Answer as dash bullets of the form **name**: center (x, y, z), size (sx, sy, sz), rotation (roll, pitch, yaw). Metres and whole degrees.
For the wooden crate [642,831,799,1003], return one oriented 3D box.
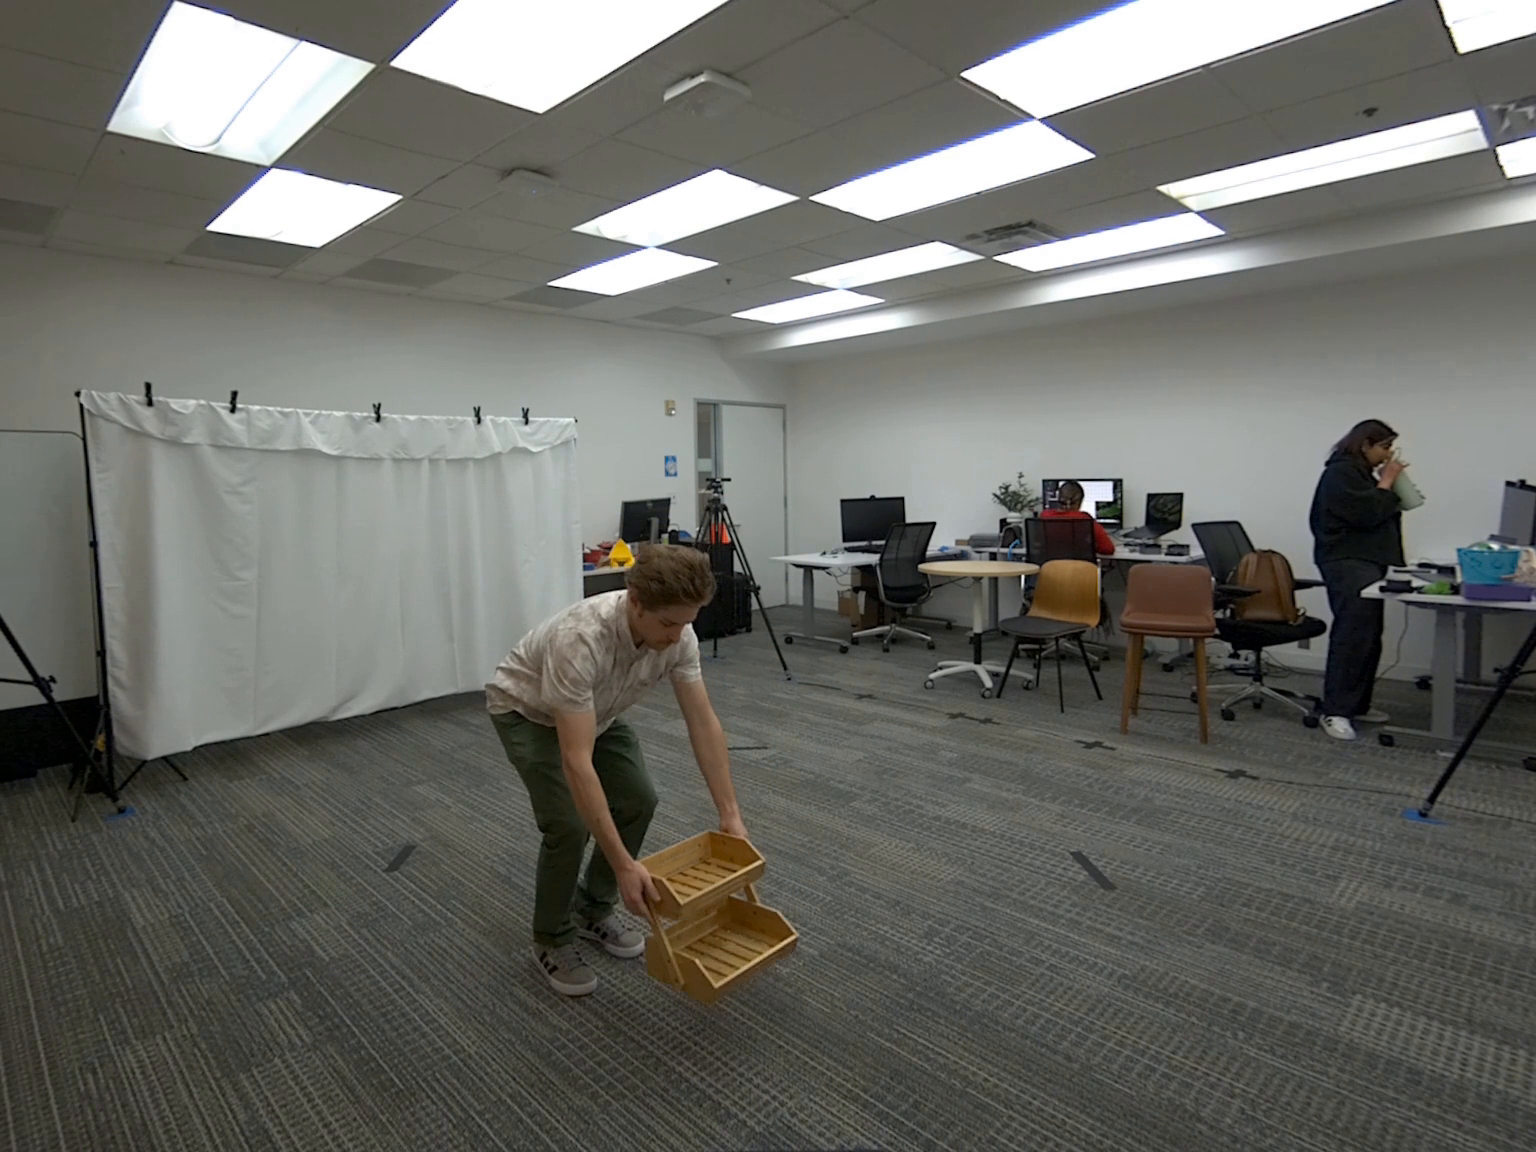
- **wooden crate**: center (-0.134, 0.838, 2.155), size (0.310, 0.273, 0.316), rotation (-4, 2, 42)
